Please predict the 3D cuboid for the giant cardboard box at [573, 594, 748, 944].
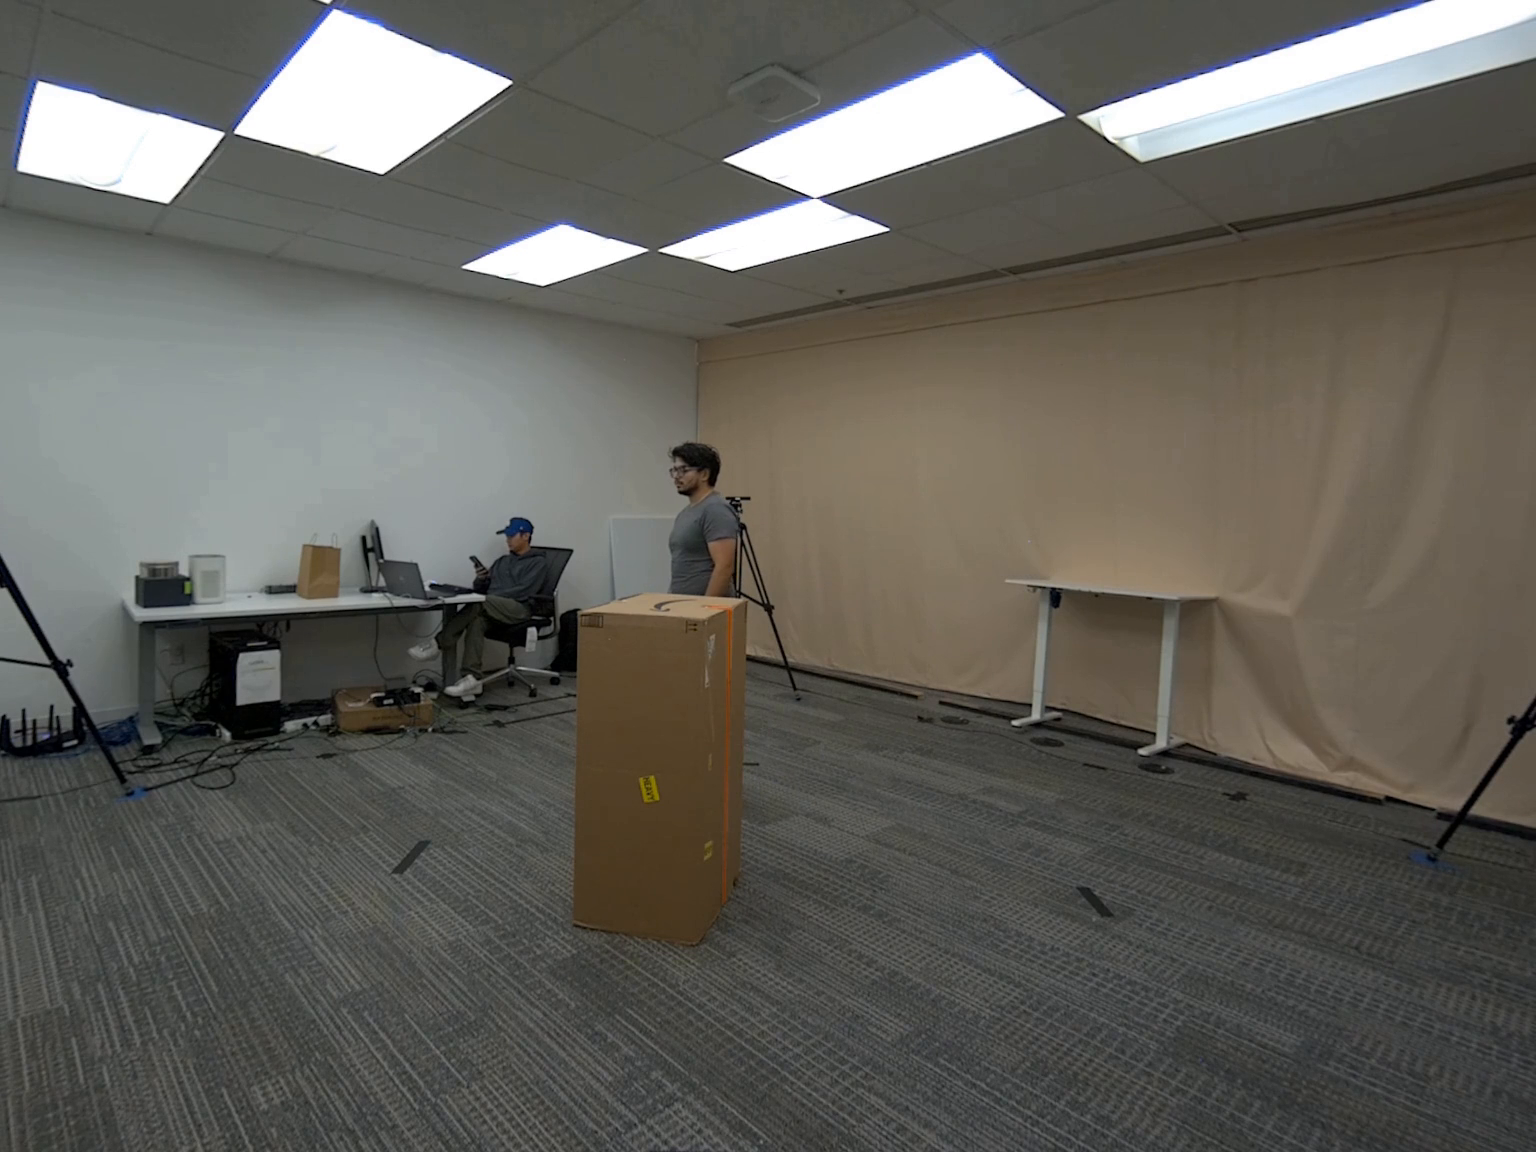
[{"bbox_3d":[-0.350,0.608,2.911,0.431,1.024,0.572,2,3,13],"label":"giant cardboard box"}]
